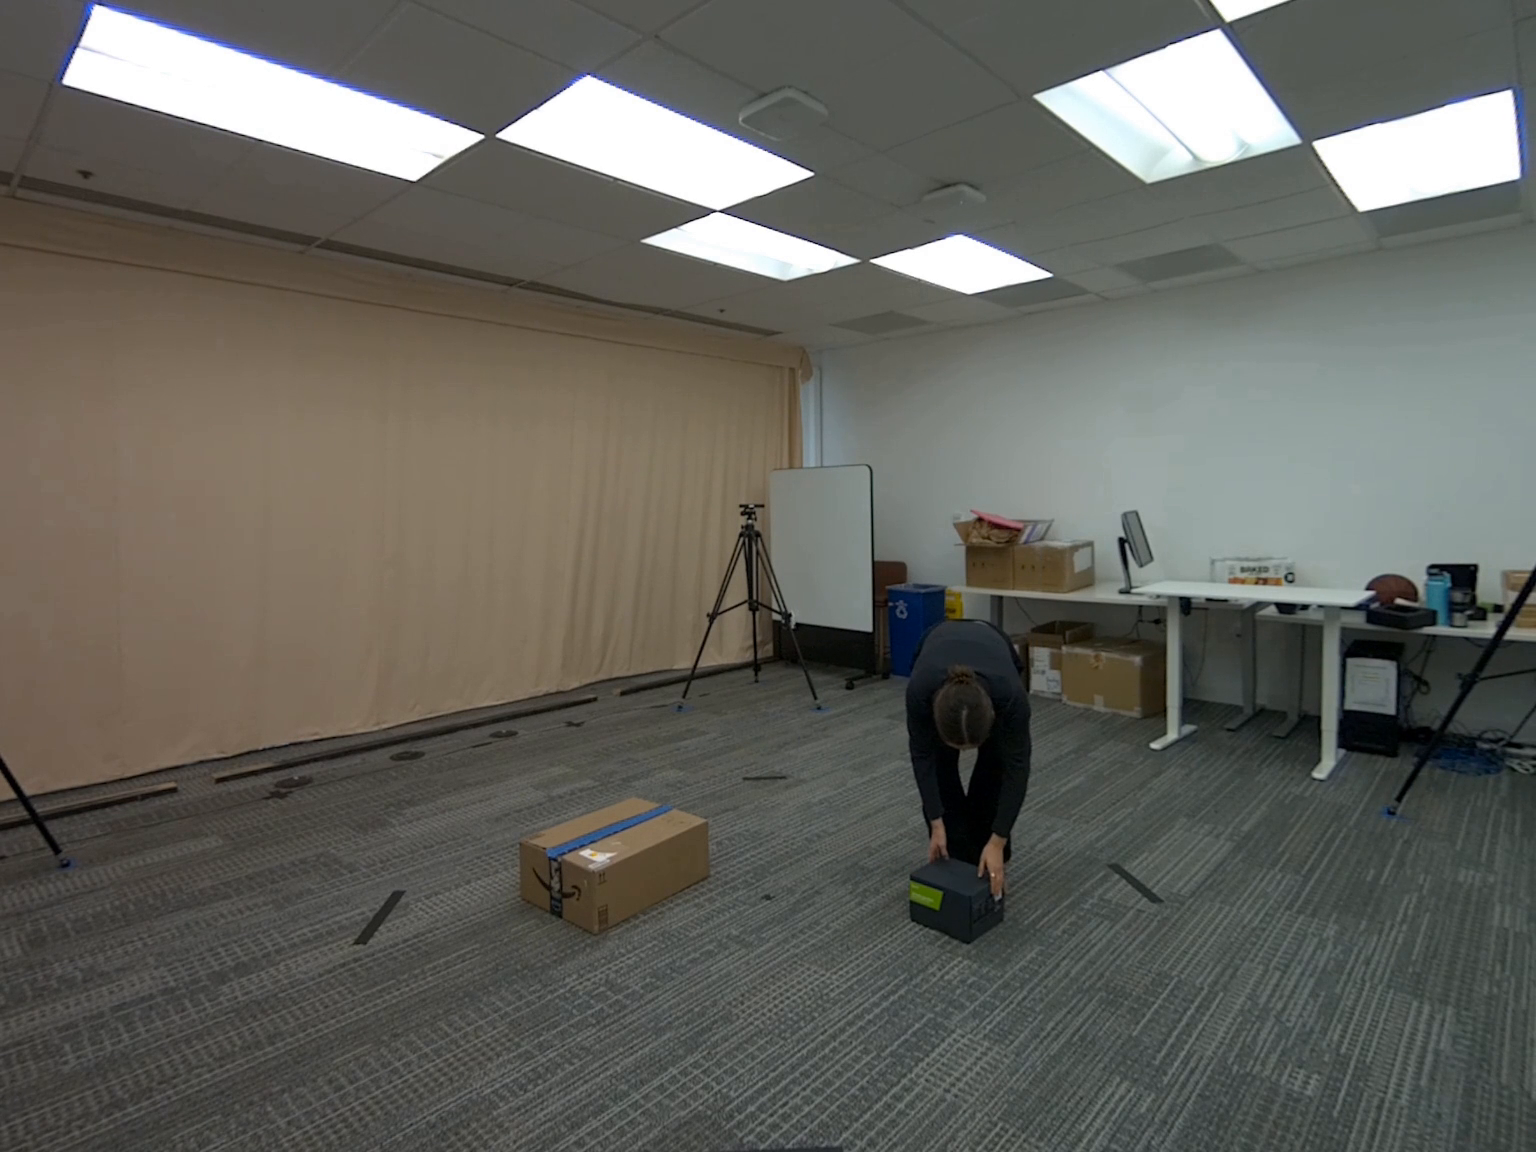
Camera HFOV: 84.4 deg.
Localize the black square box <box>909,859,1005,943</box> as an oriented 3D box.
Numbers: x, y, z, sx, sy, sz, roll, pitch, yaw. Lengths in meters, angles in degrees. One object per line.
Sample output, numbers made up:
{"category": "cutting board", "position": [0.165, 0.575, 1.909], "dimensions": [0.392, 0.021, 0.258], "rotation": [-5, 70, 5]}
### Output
{"category": "black square box", "position": [0.625, 1.060, 2.786], "dimensions": [0.235, 0.155, 0.210], "rotation": [4, 6, 45]}
